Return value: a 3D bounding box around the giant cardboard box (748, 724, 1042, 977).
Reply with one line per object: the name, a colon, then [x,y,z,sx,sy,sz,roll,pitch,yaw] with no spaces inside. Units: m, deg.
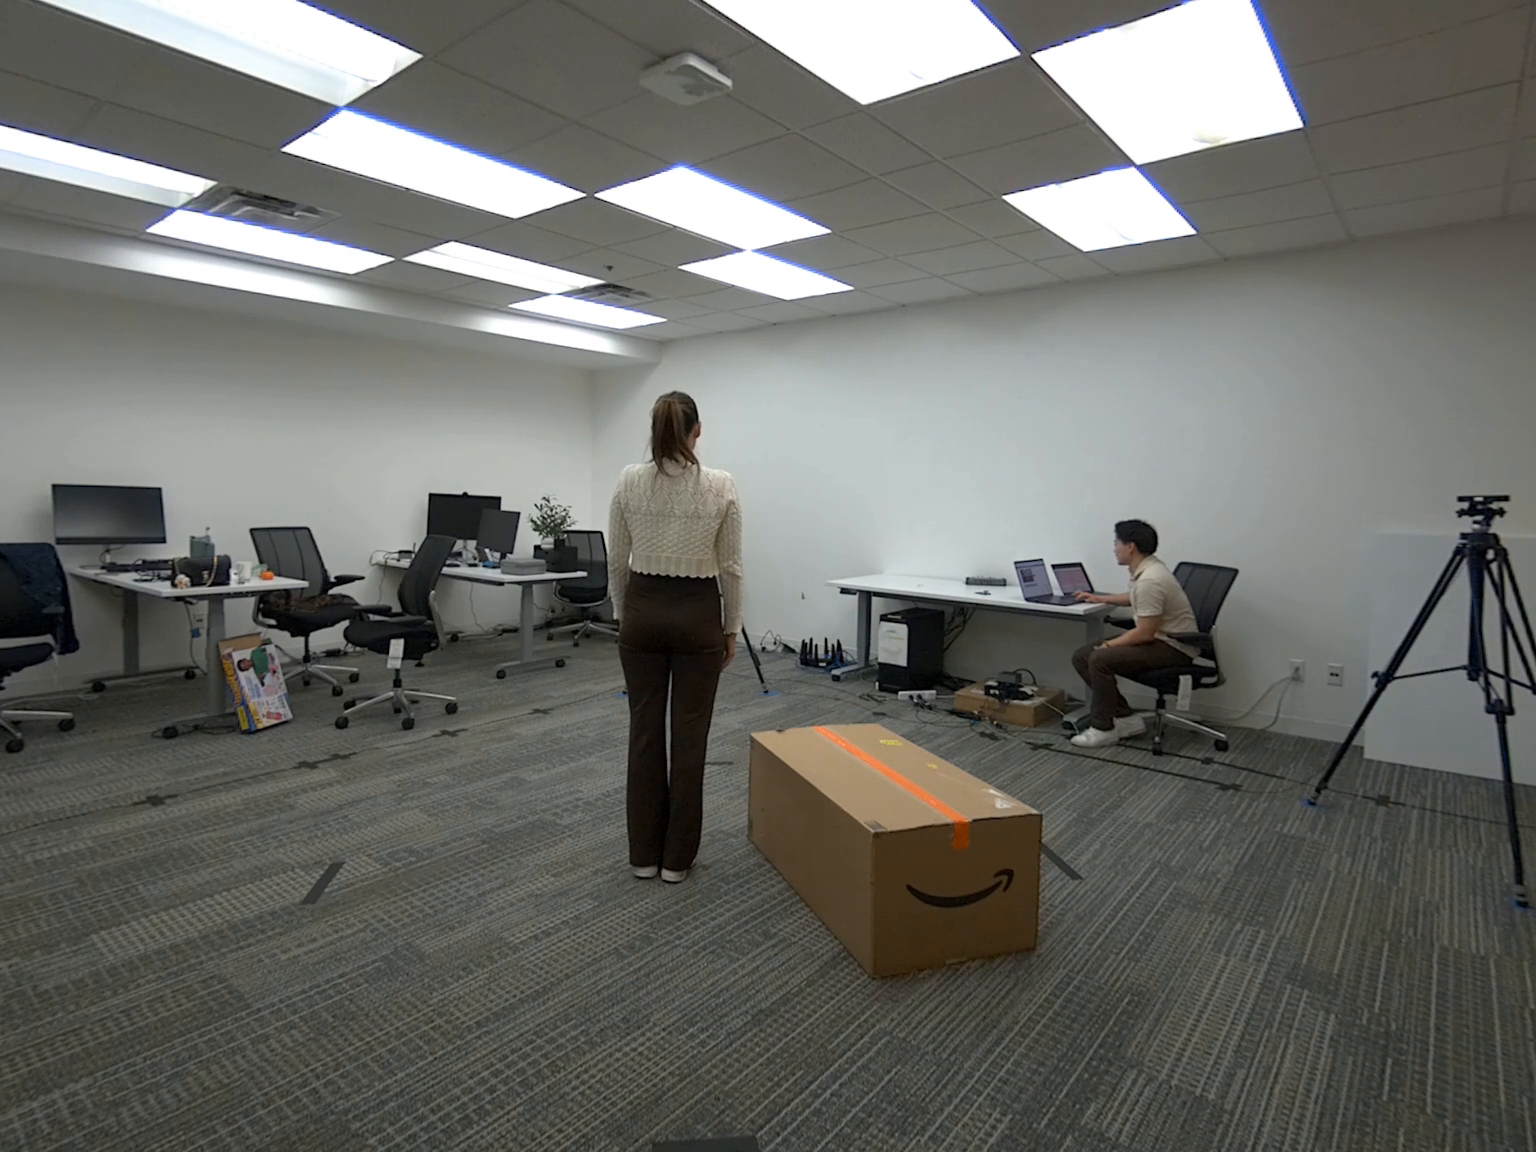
giant cardboard box: [0.368,0.872,2.980,0.566,0.425,1.051,0,5,-21]
